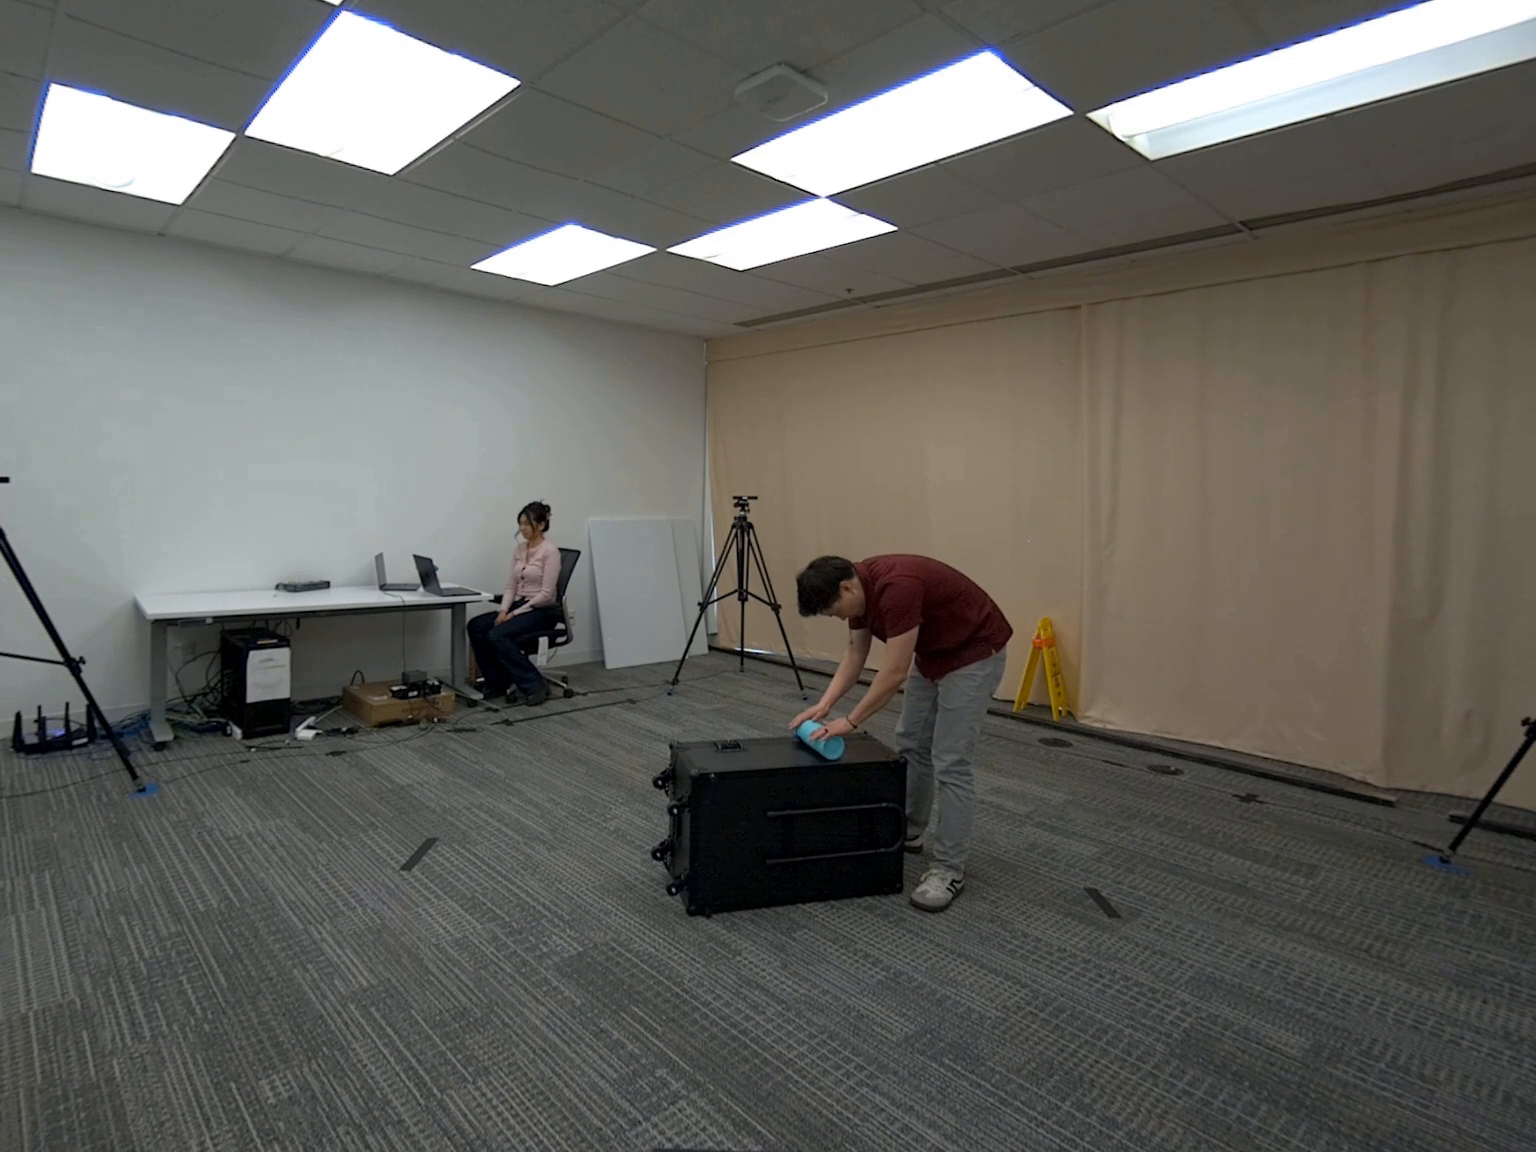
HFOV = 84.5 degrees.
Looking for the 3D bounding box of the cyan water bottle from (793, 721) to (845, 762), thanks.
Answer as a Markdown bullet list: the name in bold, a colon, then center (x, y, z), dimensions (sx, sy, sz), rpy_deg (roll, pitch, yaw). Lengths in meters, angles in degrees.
- **cyan water bottle**: center (0.175, 0.580, 3.061), dimensions (0.091, 0.092, 0.288), rpy_deg (0, 4, -20)
